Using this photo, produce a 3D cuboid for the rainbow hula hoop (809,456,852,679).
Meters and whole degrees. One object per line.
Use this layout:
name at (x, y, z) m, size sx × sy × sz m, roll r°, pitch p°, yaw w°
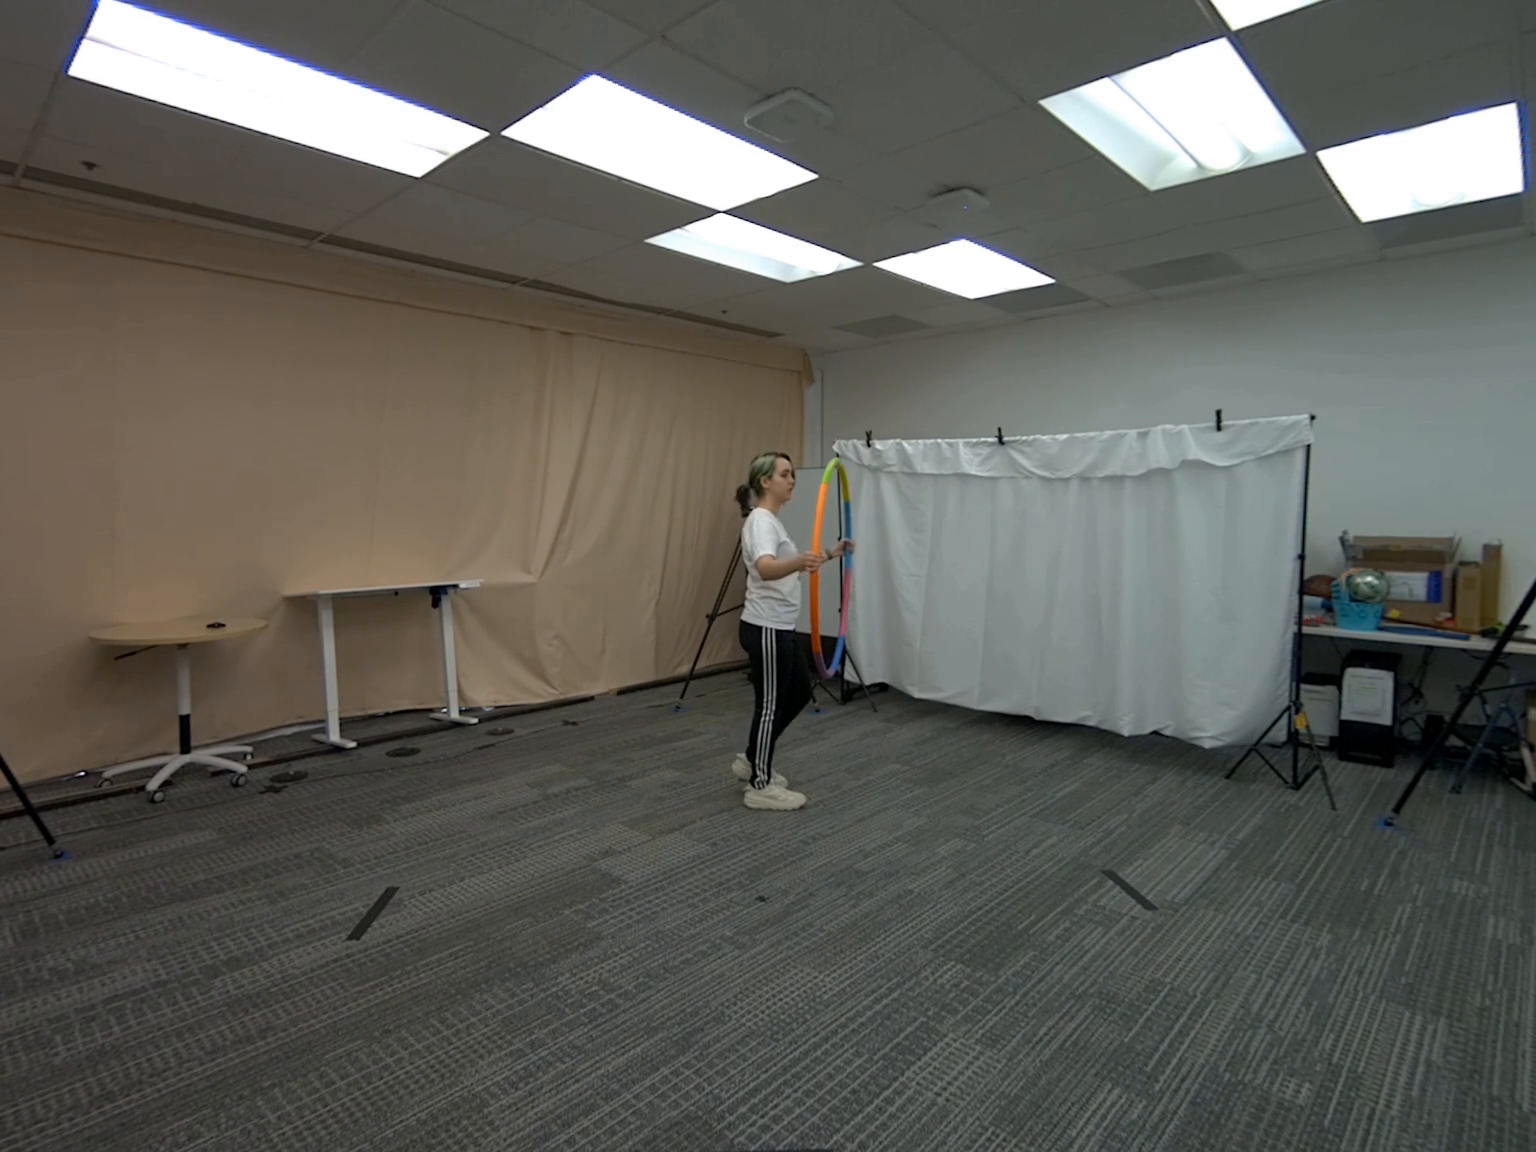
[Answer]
rainbow hula hoop at (0.294, -0.033, 3.768) m, size 0.036 × 0.976 × 0.964 m, roll 1°, pitch 4°, yaw 14°
